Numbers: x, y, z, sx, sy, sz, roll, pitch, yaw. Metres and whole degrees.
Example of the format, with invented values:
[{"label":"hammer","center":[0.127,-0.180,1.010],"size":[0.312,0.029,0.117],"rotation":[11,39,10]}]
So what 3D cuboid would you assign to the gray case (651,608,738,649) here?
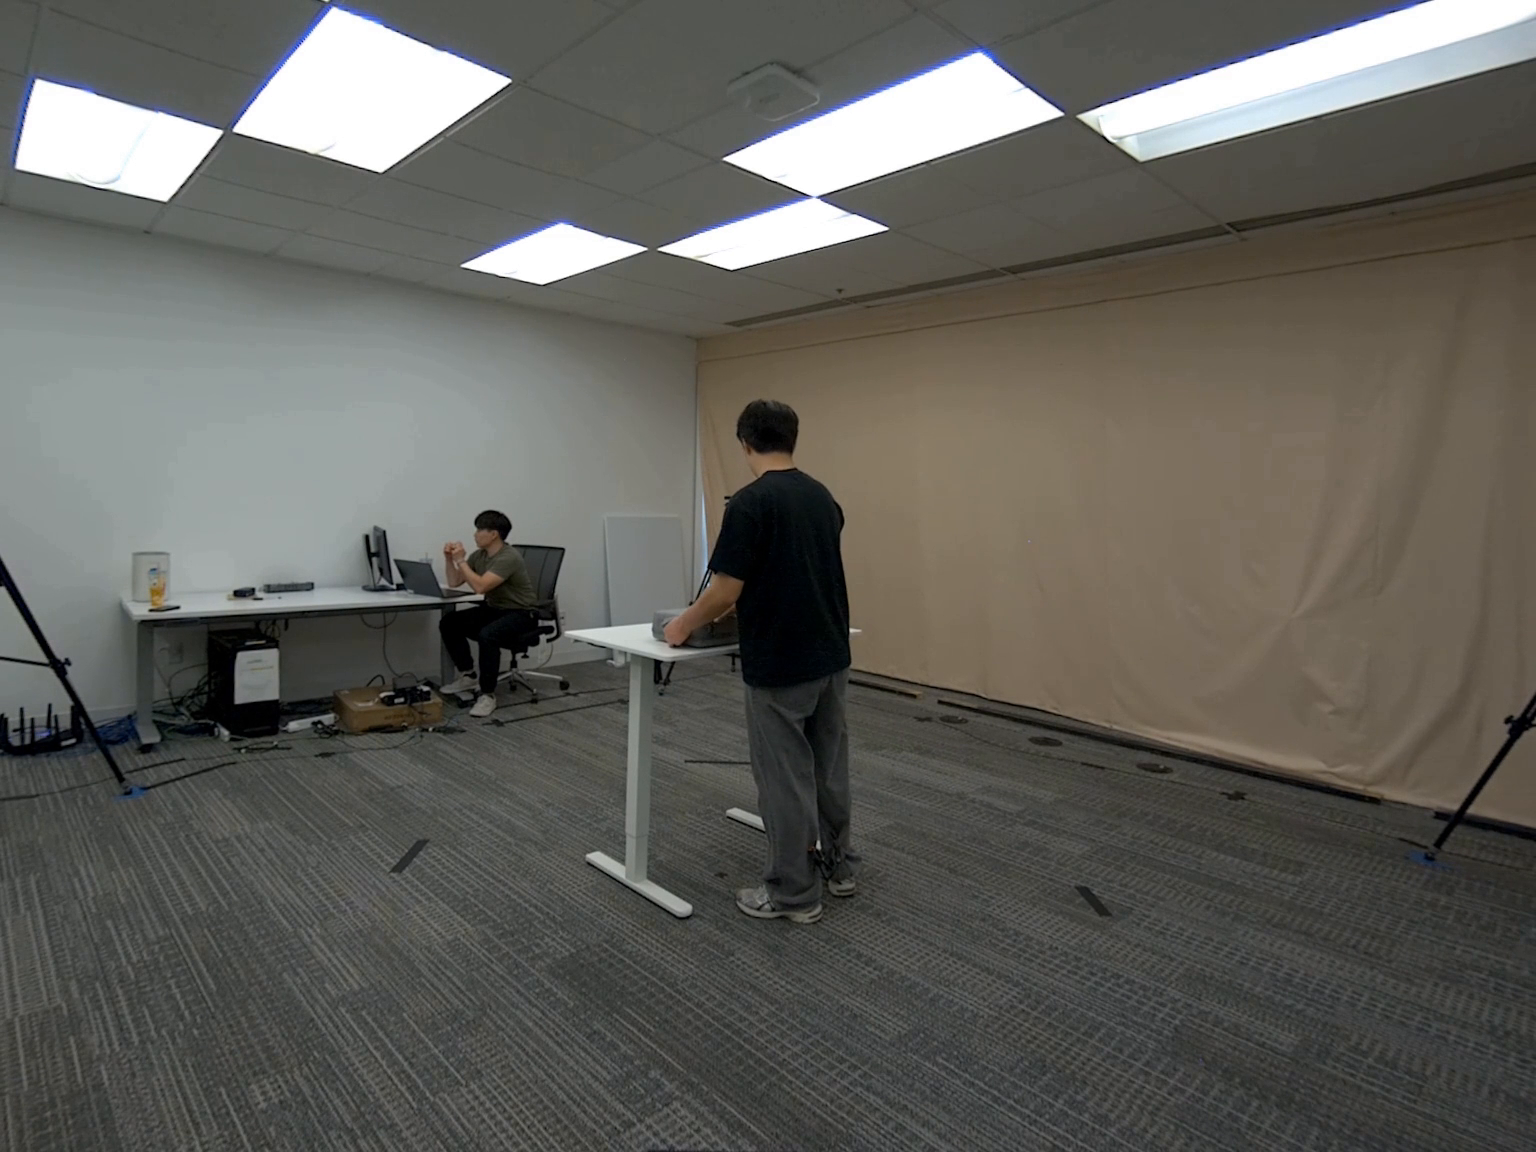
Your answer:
[{"label":"gray case","center":[-0.252,0.178,2.963],"size":[0.263,0.104,0.255],"rotation":[8,7,39]}]
